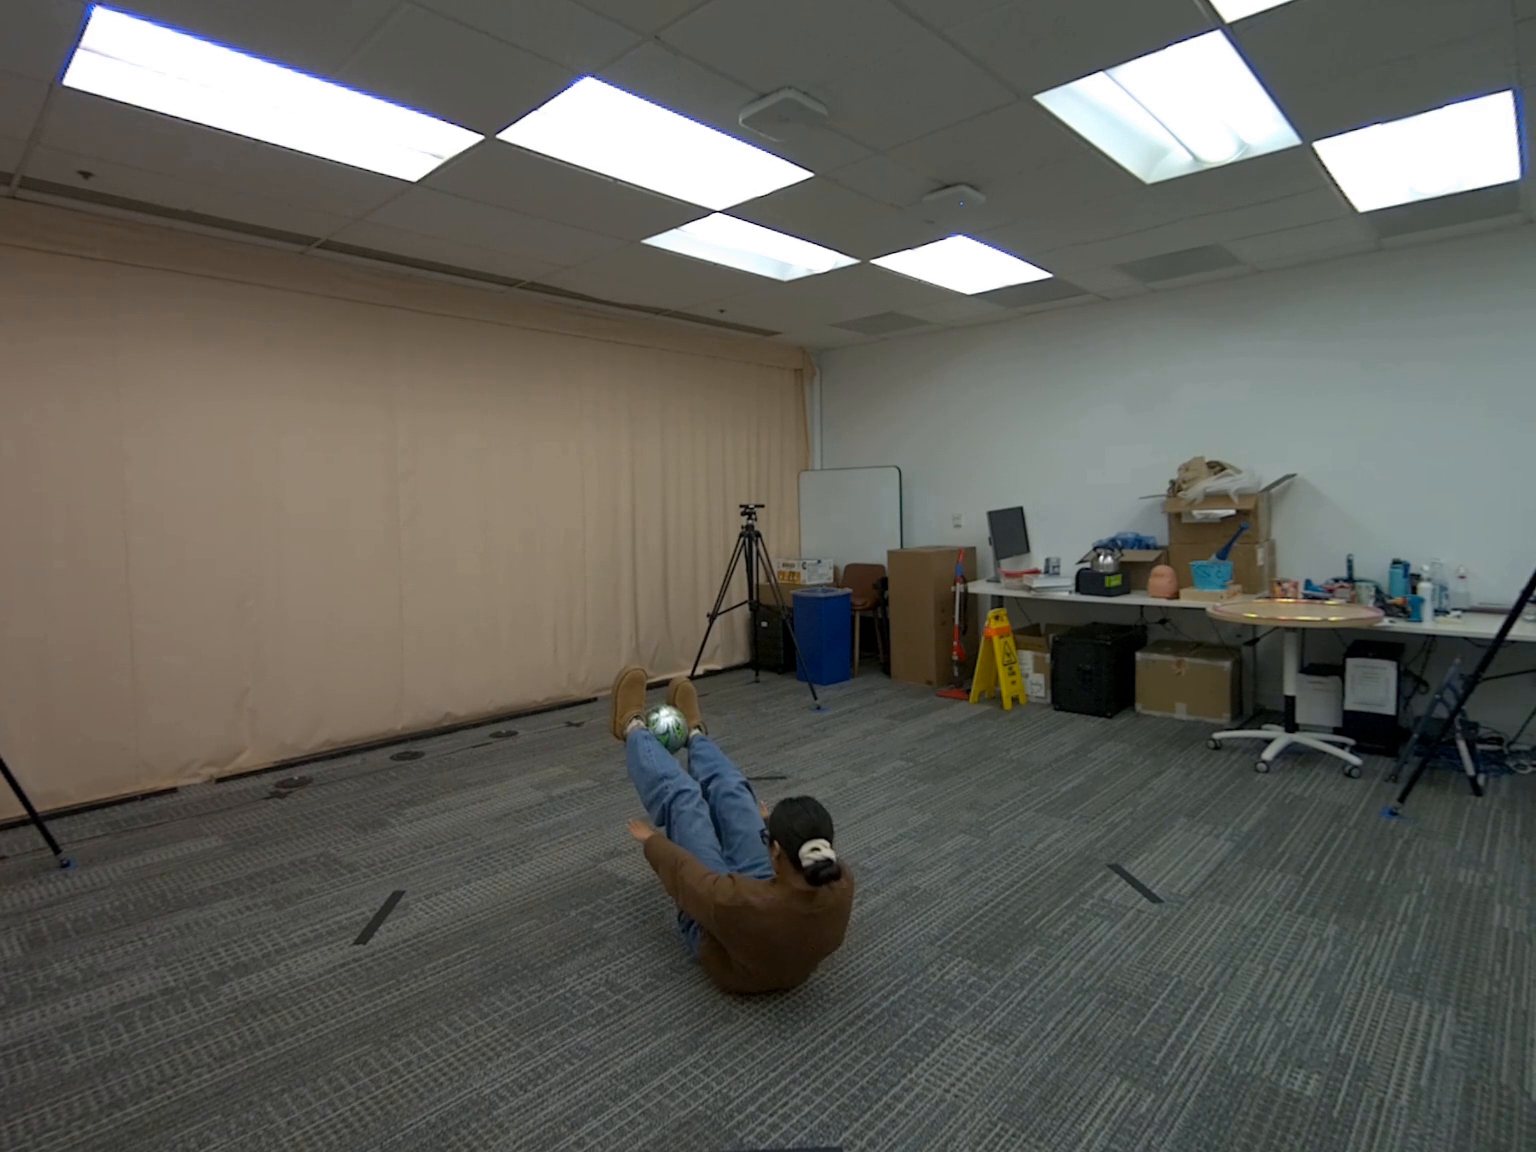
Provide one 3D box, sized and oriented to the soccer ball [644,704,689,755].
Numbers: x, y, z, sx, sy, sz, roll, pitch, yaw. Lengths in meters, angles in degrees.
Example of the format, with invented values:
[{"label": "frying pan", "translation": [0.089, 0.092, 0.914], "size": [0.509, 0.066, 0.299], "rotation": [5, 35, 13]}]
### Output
[{"label": "soccer ball", "translation": [-0.394, 0.576, 3.104], "size": [0.187, 0.187, 0.188], "rotation": [-1, 4, -2]}]
